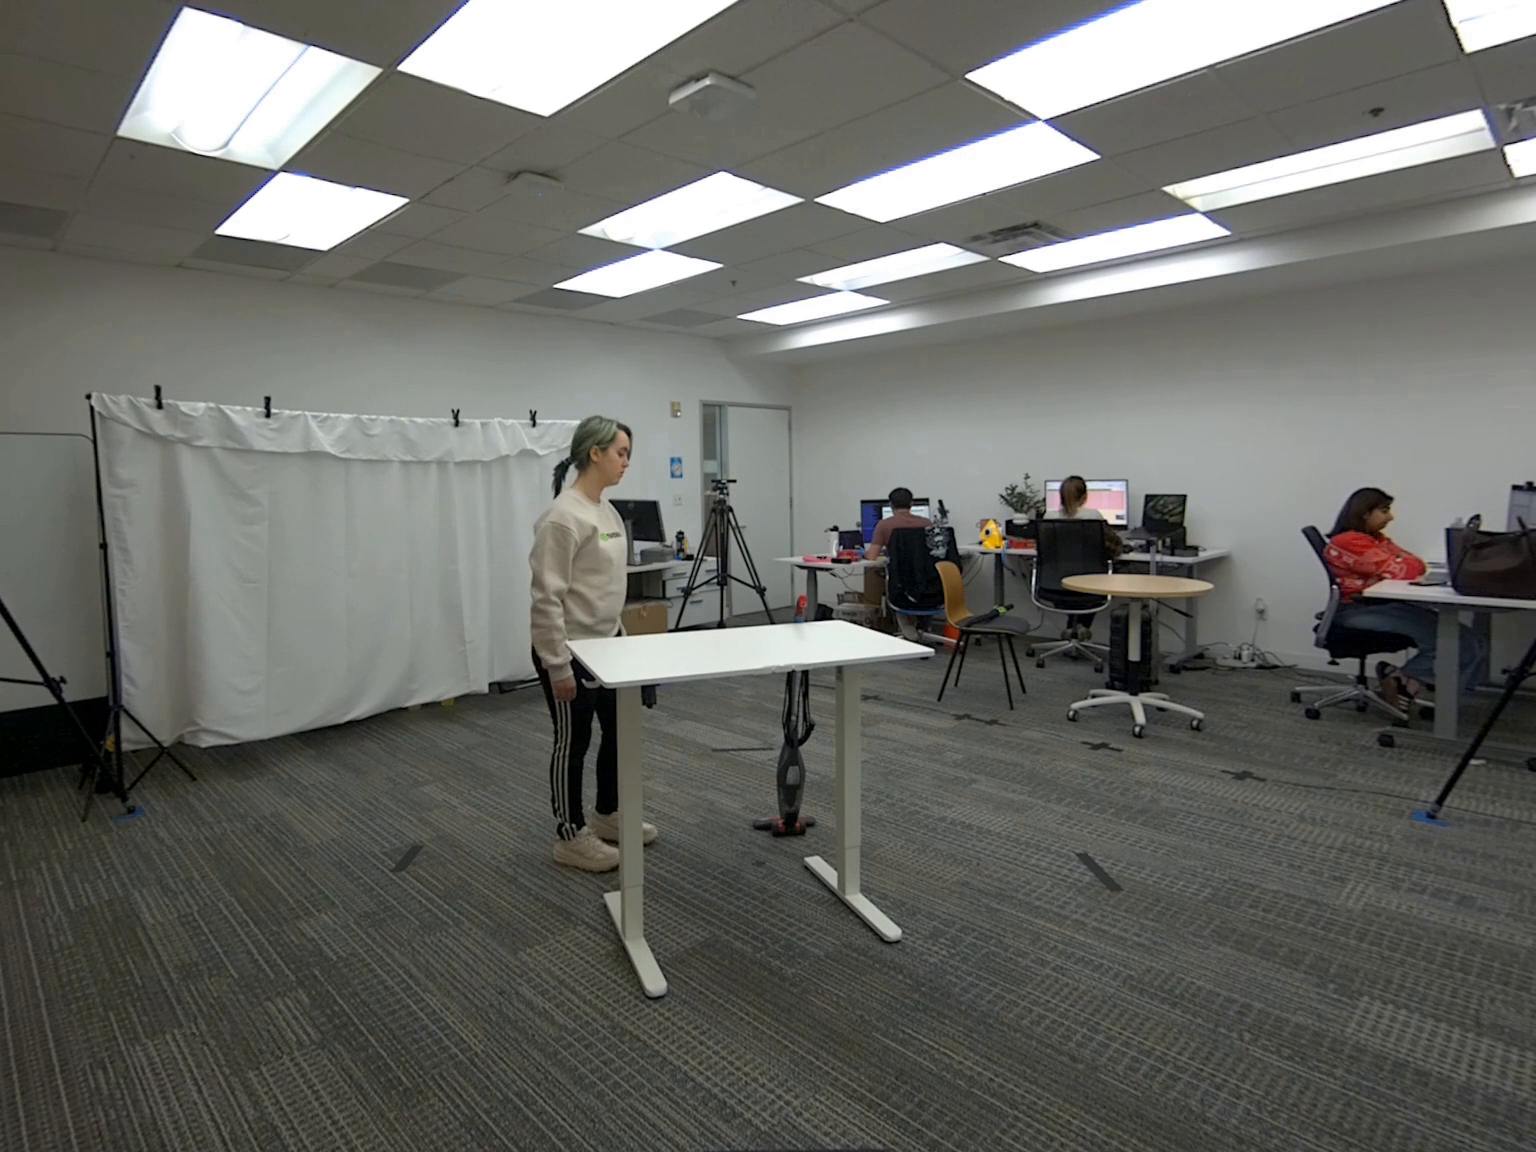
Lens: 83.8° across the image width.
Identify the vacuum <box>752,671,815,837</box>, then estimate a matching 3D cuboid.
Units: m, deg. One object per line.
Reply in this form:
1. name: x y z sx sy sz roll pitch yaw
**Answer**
1. vacuum: 0.105 0.548 3.198 0.250 1.029 0.148 -2 26 -11
